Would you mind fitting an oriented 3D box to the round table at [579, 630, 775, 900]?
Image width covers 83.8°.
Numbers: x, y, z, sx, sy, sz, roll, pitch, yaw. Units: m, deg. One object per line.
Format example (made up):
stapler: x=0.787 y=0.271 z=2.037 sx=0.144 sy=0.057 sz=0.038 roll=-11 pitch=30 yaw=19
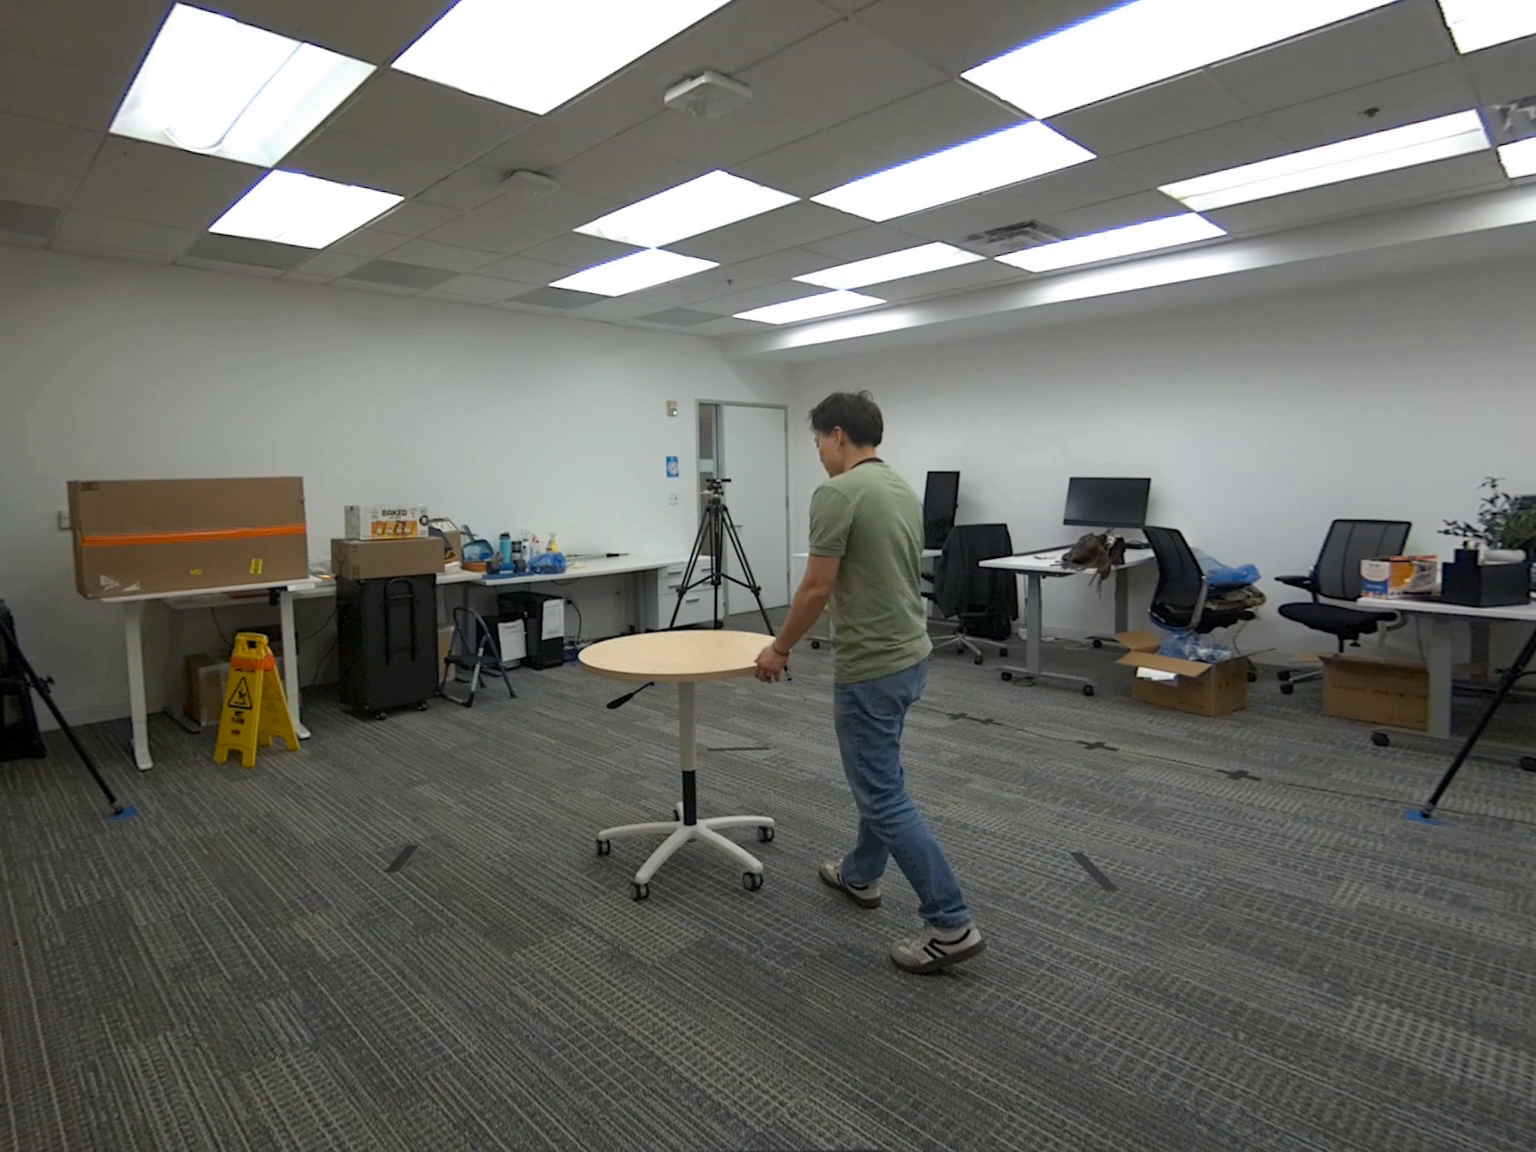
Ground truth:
round table: x=-0.284 y=0.658 z=3.115 sx=0.763 sy=0.790 sz=0.768 roll=-2 pitch=5 yaw=-2
